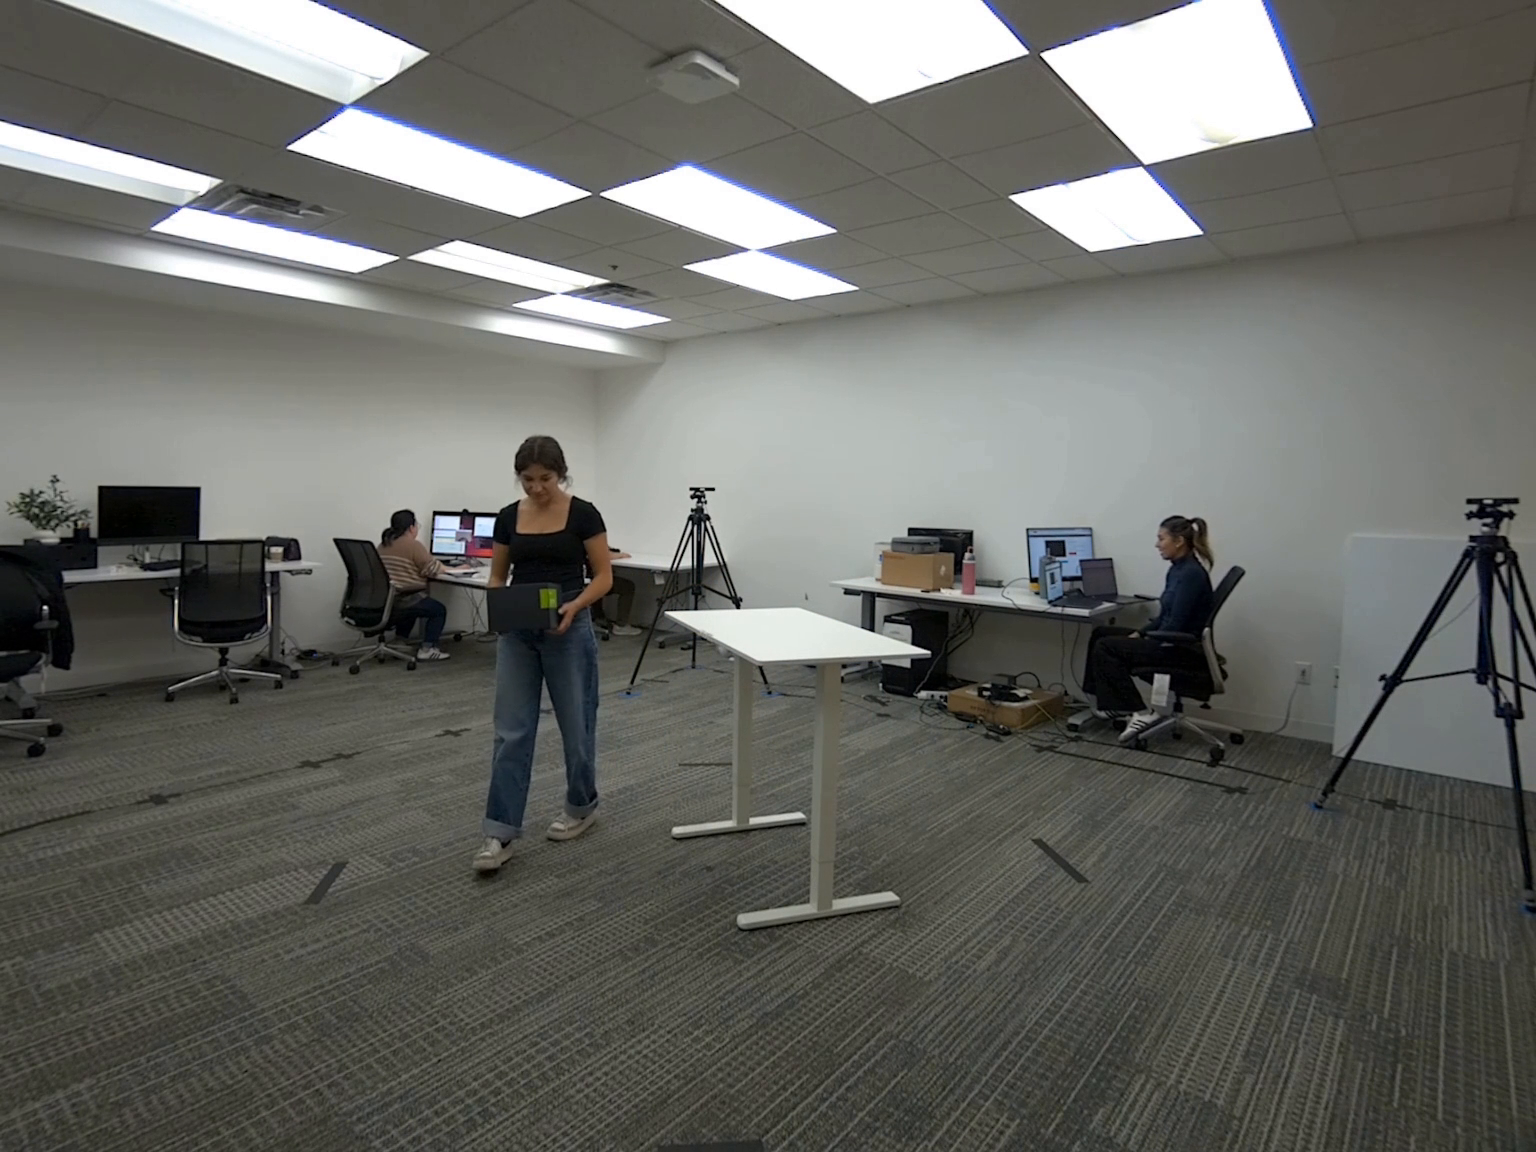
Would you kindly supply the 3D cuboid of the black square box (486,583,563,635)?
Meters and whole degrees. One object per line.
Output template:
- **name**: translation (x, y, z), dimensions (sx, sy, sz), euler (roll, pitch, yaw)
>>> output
- **black square box**: translation (-0.875, 0.104, 3.014), dimensions (0.217, 0.157, 0.227), euler (-5, -3, -1)
